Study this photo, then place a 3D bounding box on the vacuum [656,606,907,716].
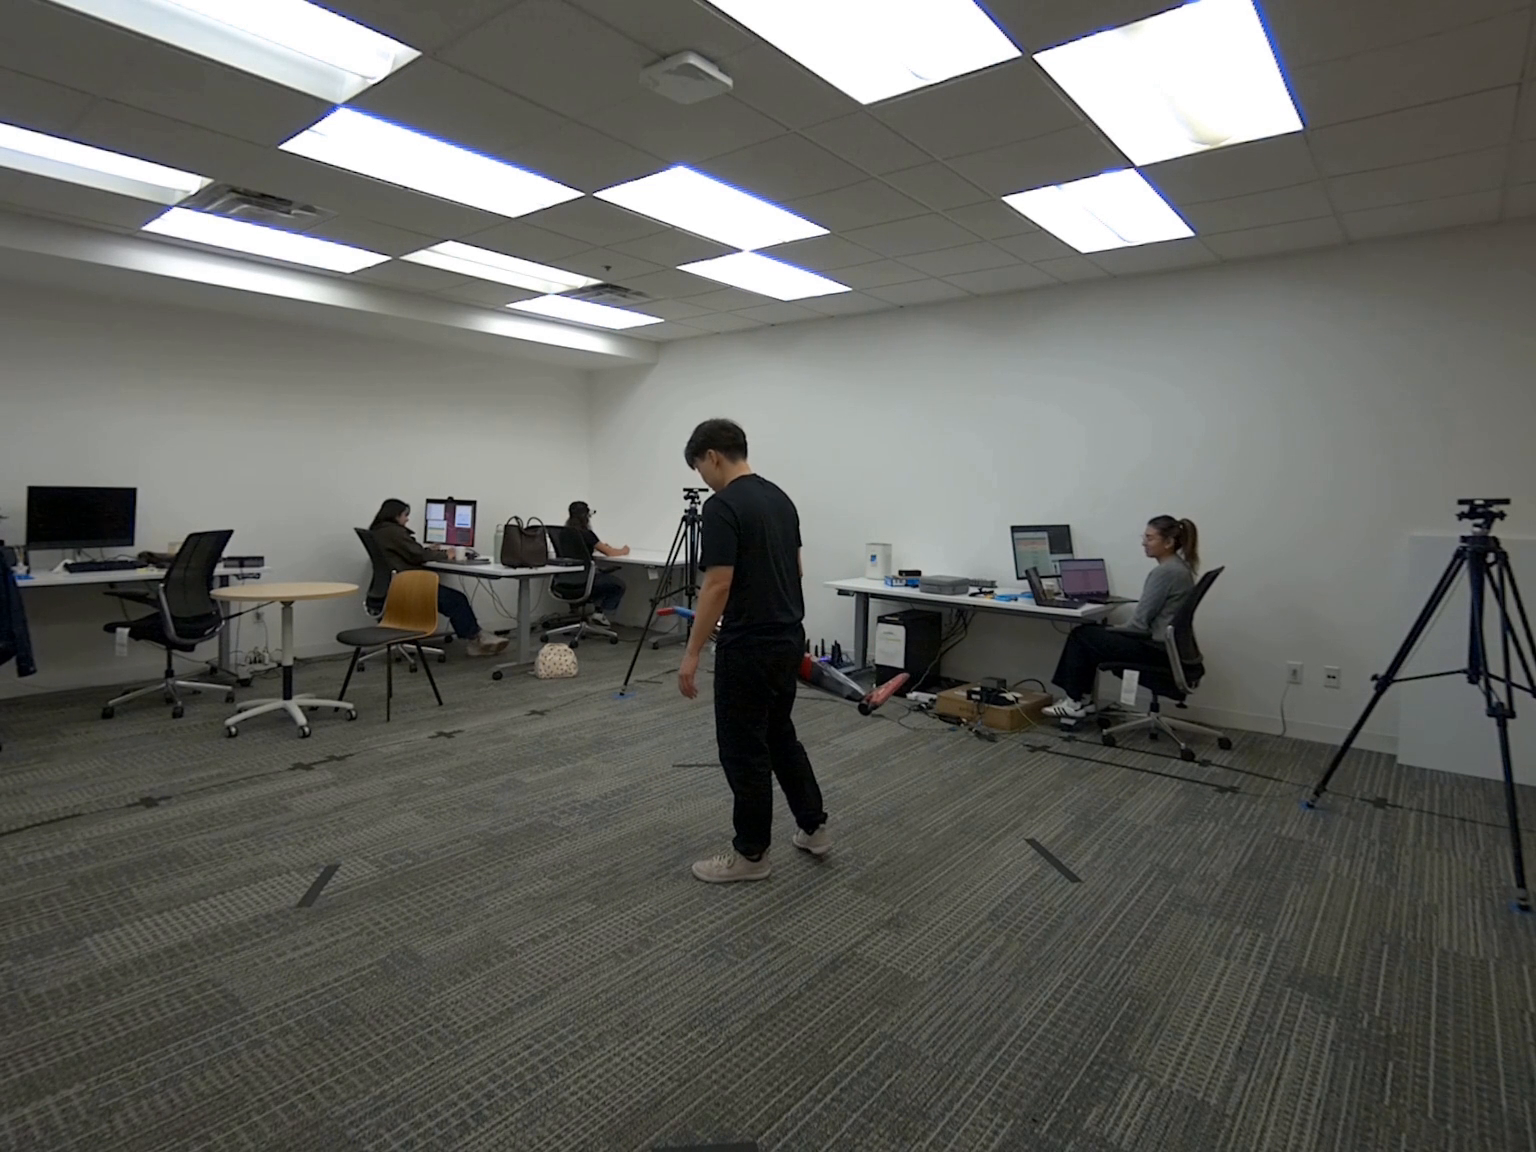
[{"bbox_3d":[-0.019,0.299,3.374,1.088,0.141,0.248,18,25,34],"label":"vacuum"}]
